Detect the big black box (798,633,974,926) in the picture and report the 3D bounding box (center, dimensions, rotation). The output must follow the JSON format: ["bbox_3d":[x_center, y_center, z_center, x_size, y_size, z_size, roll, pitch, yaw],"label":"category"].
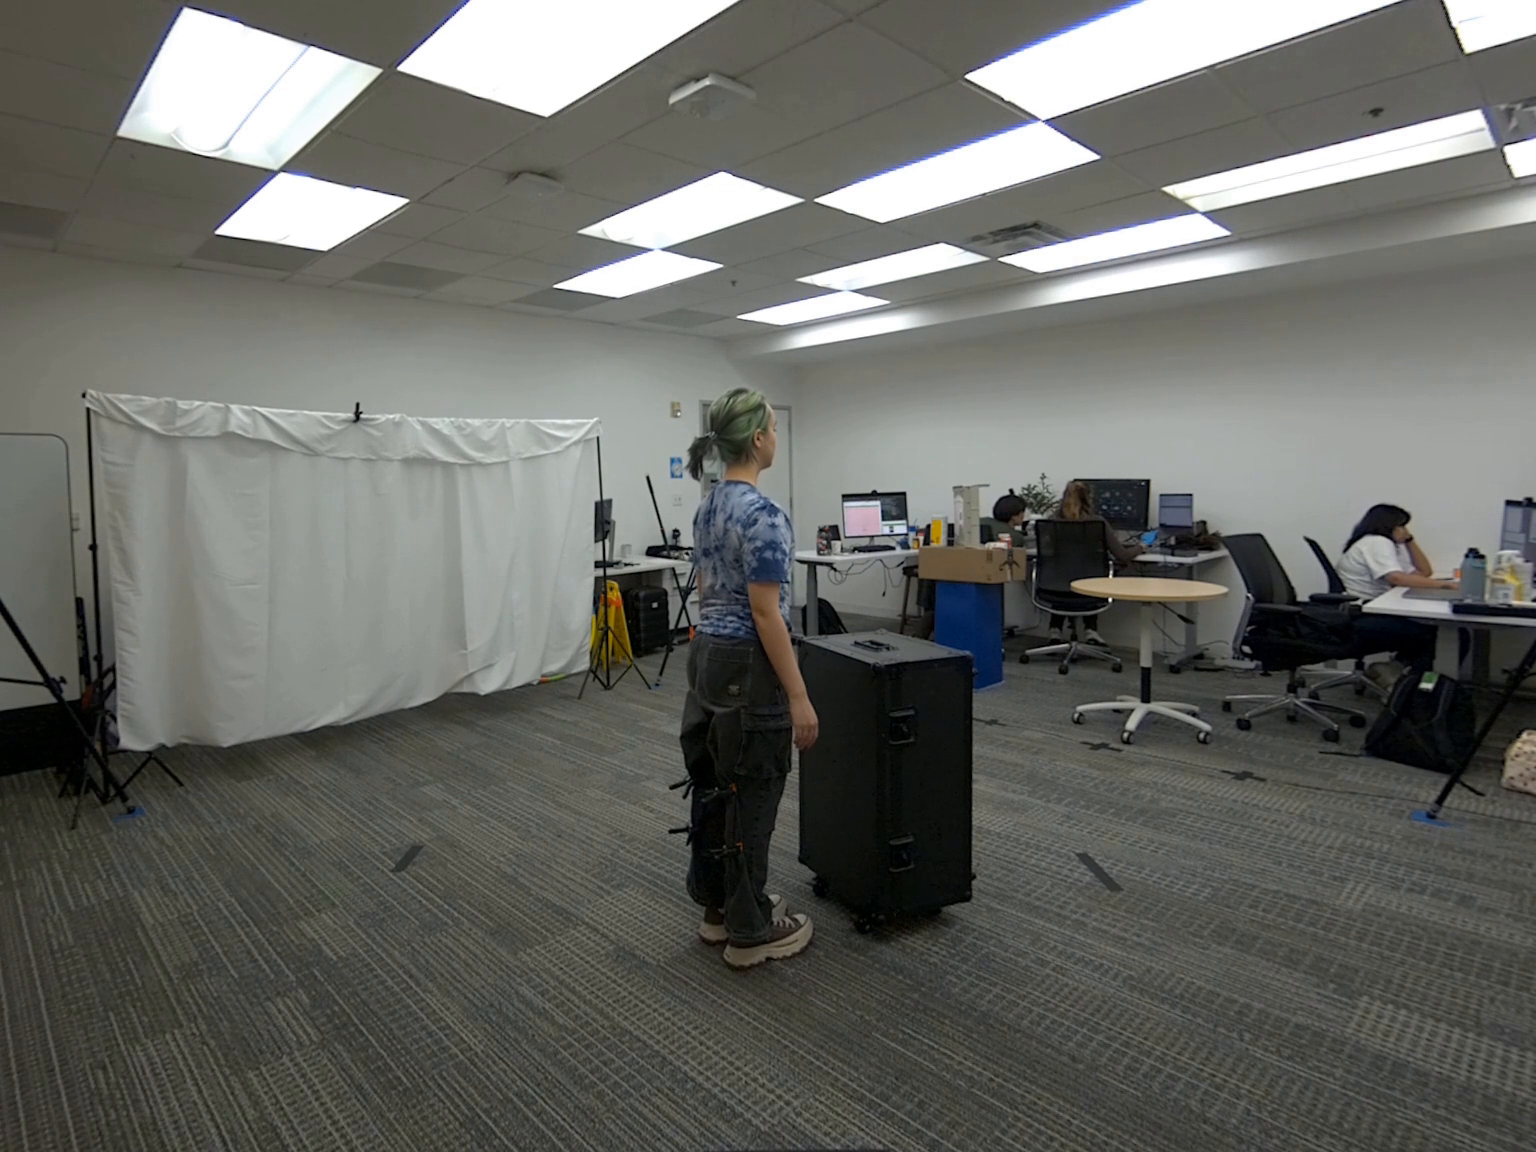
[{"bbox_3d":[0.379,0.592,2.796,0.388,0.859,0.534,-2,4,-26],"label":"big black box"}]
